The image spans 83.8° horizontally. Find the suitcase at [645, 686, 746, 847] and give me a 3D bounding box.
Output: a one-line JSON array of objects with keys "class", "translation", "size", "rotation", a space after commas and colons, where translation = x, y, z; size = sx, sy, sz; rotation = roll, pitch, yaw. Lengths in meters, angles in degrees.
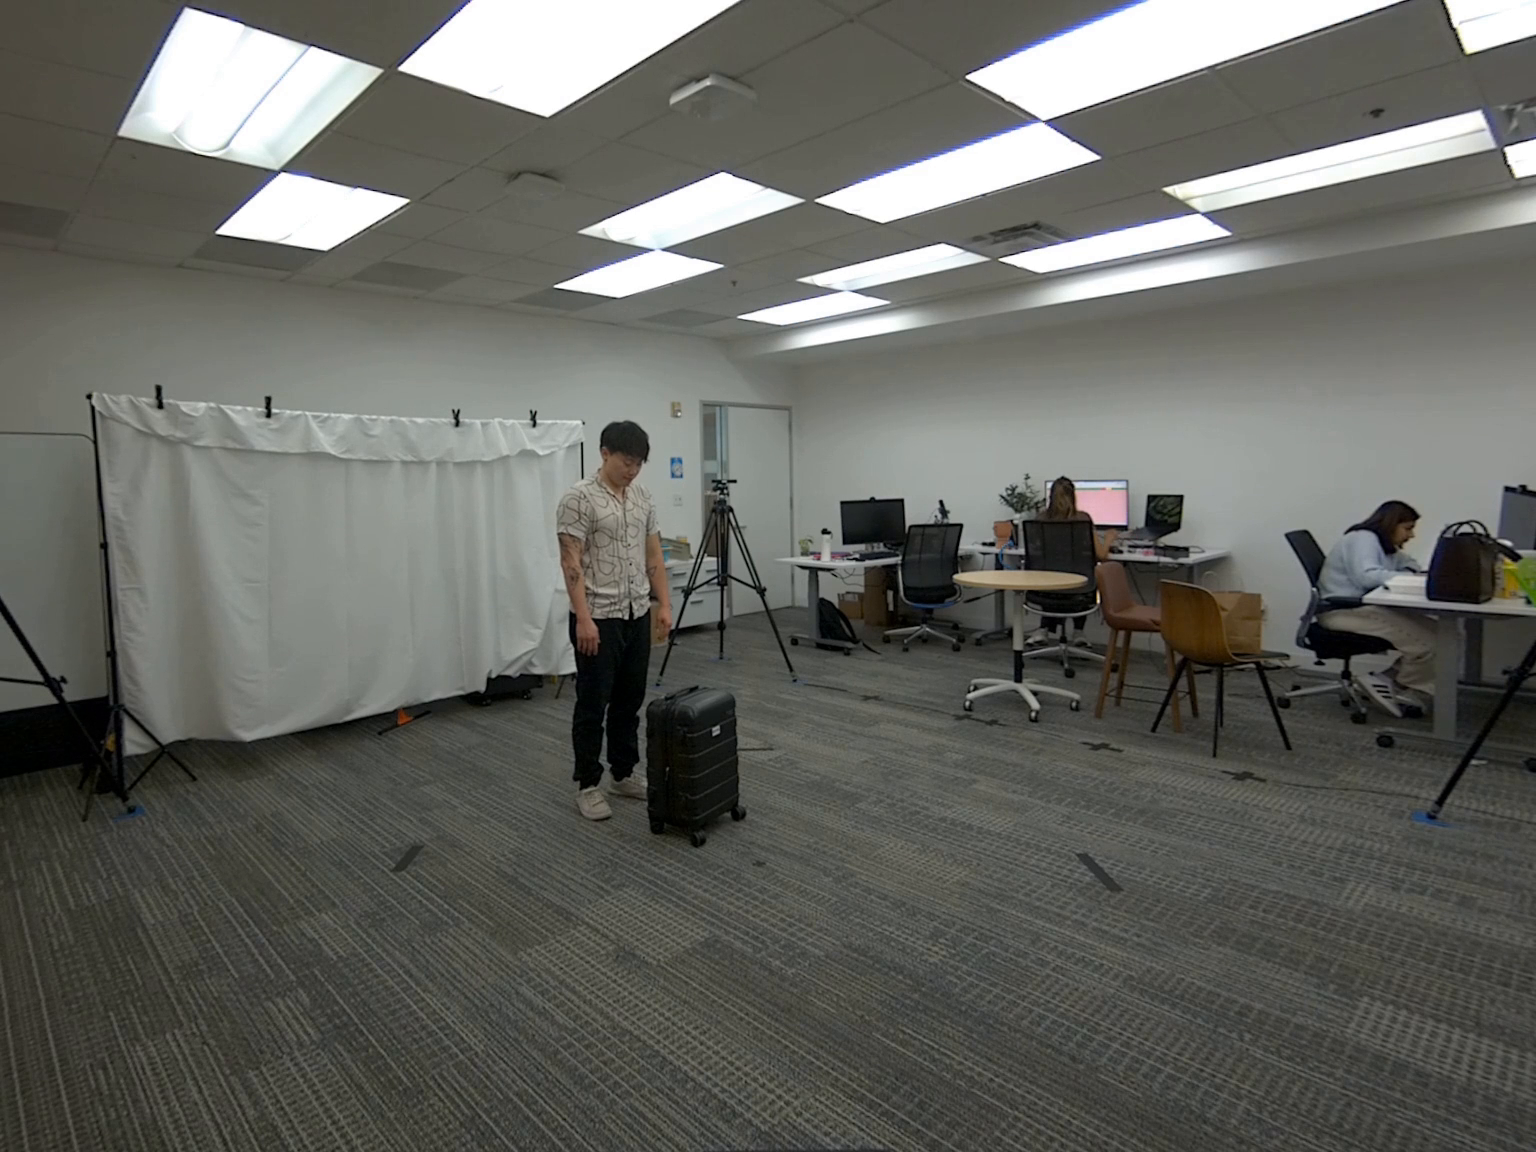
[{"class": "suitcase", "translation": [-0.300, 0.737, 3.455], "size": [0.255, 0.548, 0.366], "rotation": [1, 4, 32]}]
